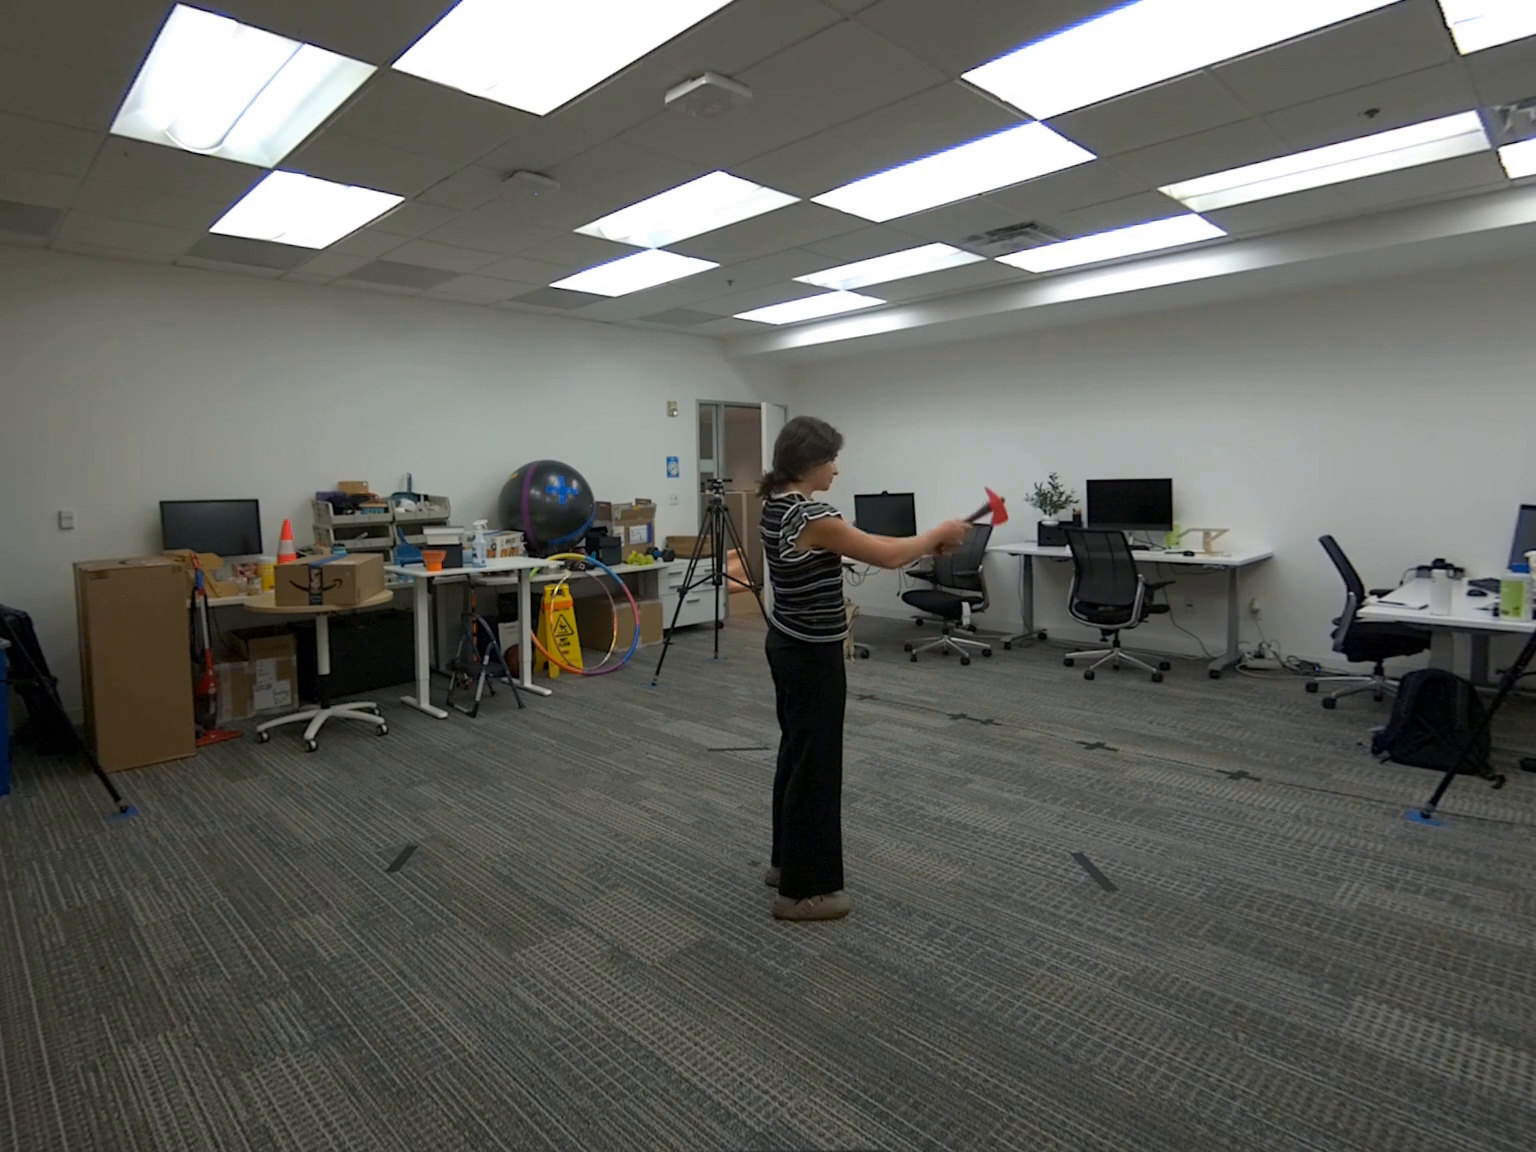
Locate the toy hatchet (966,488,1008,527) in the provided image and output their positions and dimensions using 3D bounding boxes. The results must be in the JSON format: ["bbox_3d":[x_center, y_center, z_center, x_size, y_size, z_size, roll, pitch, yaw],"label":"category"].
[{"bbox_3d":[0.654,-0.153,2.791,0.132,0.270,0.029,44,7,4],"label":"toy hatchet"}]
